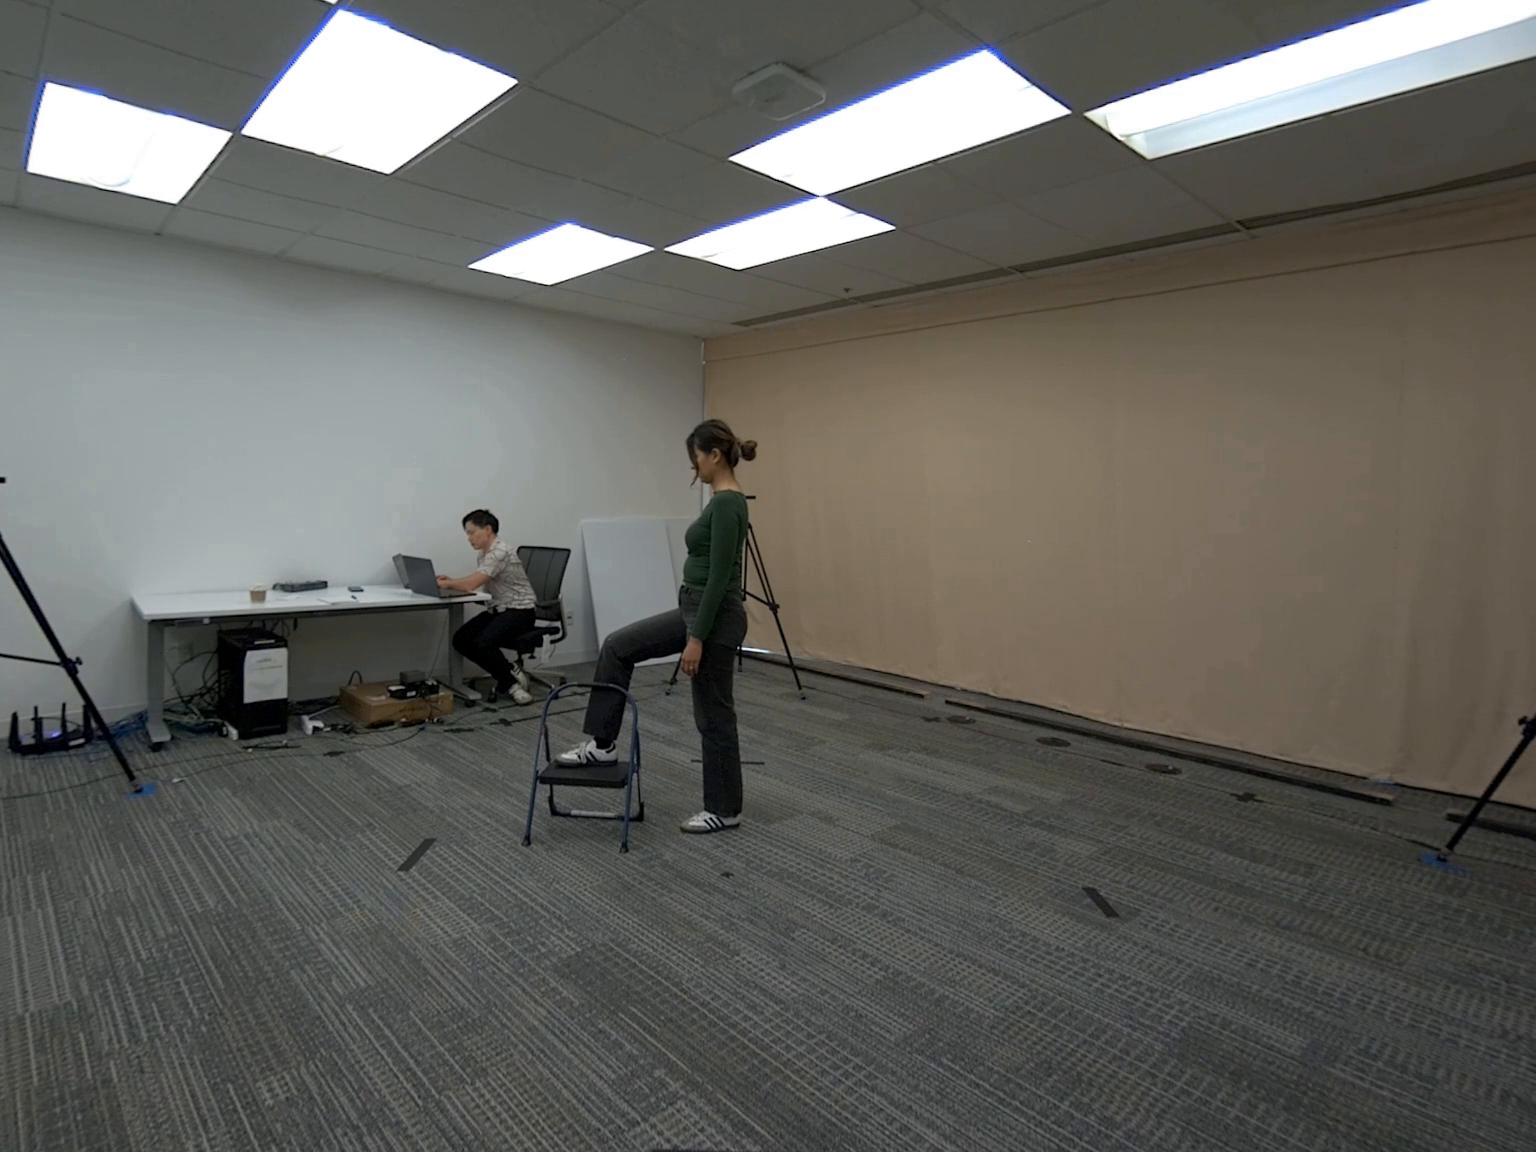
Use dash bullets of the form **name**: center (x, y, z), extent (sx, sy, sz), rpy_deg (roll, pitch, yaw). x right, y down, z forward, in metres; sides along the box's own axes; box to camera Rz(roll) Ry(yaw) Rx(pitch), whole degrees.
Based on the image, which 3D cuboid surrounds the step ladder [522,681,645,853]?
- **step ladder**: center (-0.750, 0.761, 3.447), extent (0.433, 0.604, 0.349), rpy_deg (1, 4, 5)
